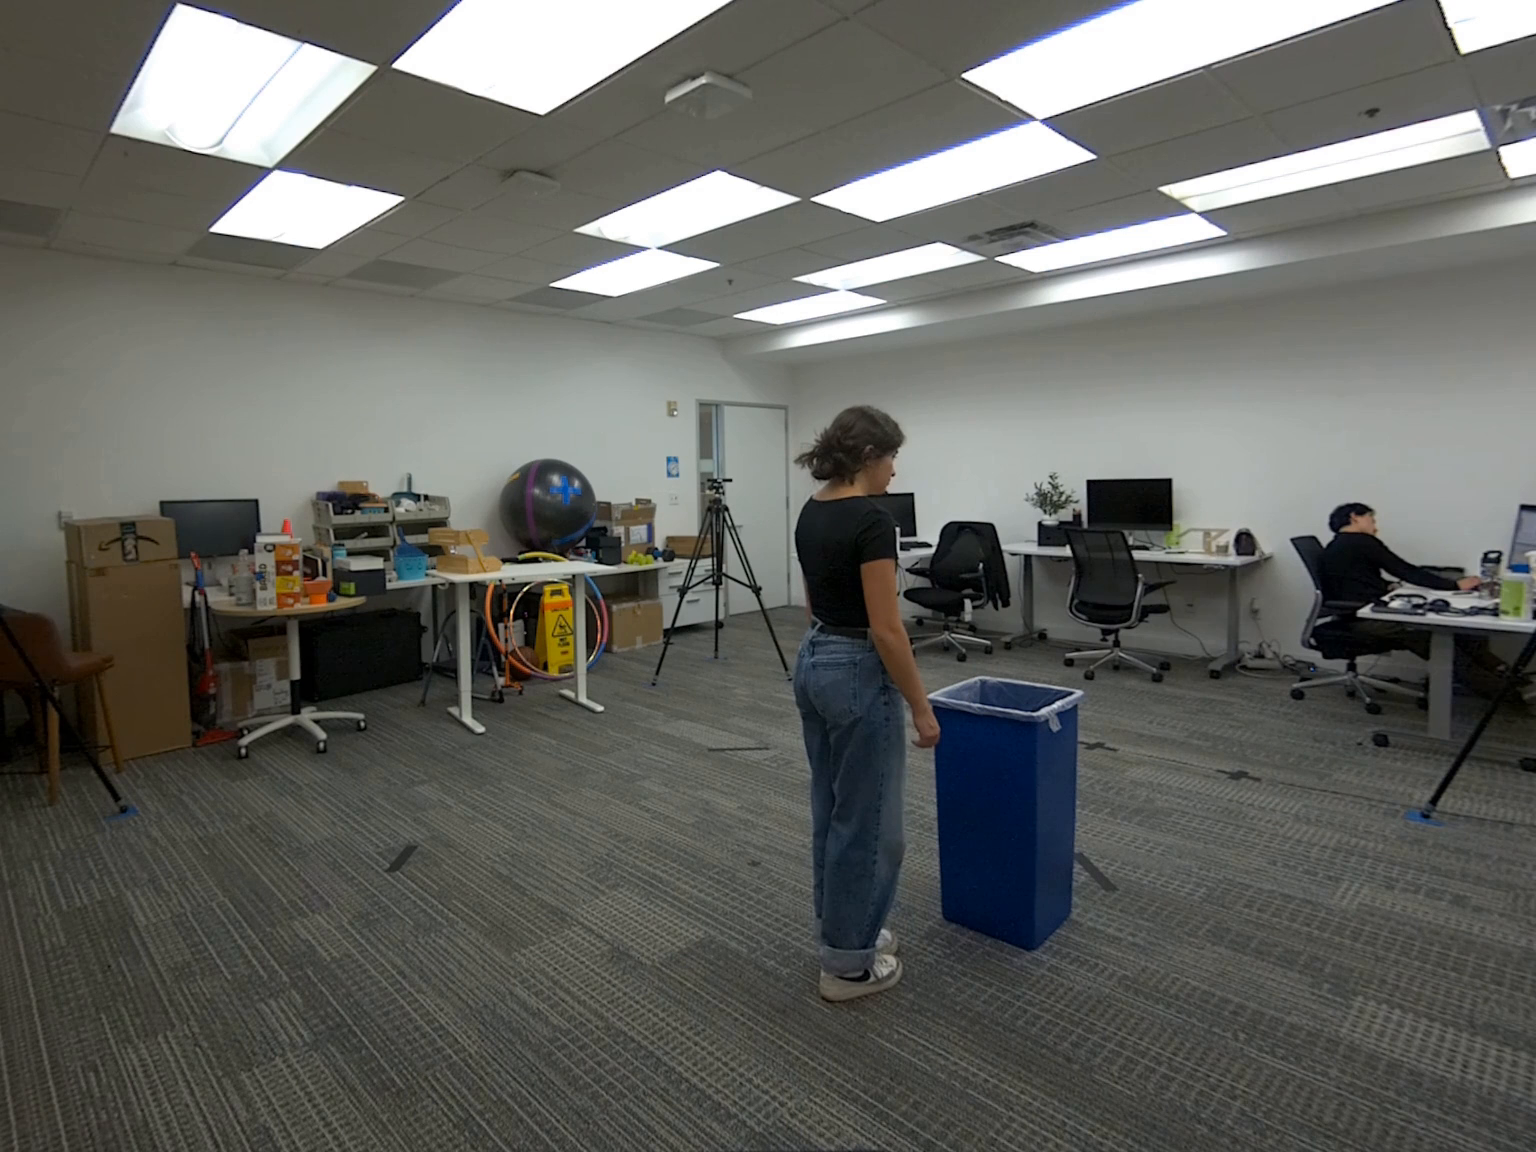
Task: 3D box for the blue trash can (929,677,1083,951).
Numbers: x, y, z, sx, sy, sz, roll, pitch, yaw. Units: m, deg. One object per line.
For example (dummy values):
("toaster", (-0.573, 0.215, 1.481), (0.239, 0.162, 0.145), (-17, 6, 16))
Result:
("blue trash can", (0.748, 0.722, 2.688), (0.385, 0.711, 0.368), (3, 5, 42))
